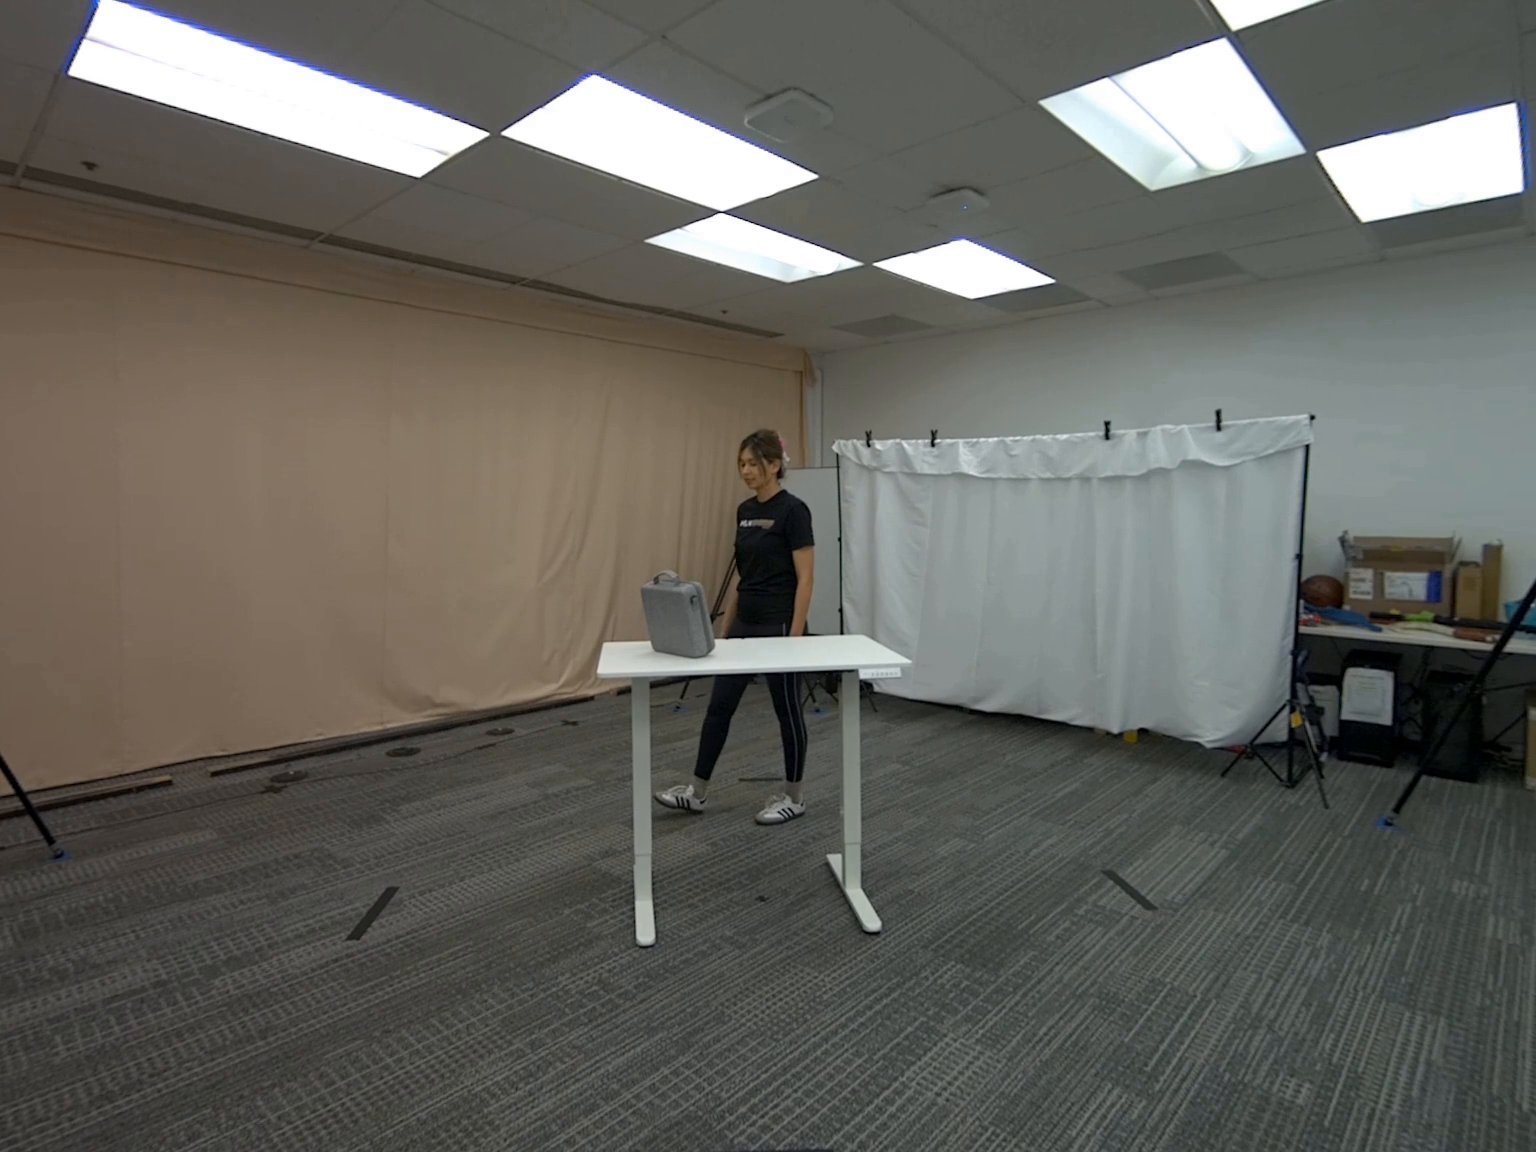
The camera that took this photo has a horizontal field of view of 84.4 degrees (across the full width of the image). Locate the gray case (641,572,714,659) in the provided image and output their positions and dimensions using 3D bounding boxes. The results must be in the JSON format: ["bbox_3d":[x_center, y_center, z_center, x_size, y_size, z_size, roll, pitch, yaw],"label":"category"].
[{"bbox_3d":[-0.308,0.141,2.901,0.102,0.258,0.265,-18,13,-41],"label":"gray case"}]
